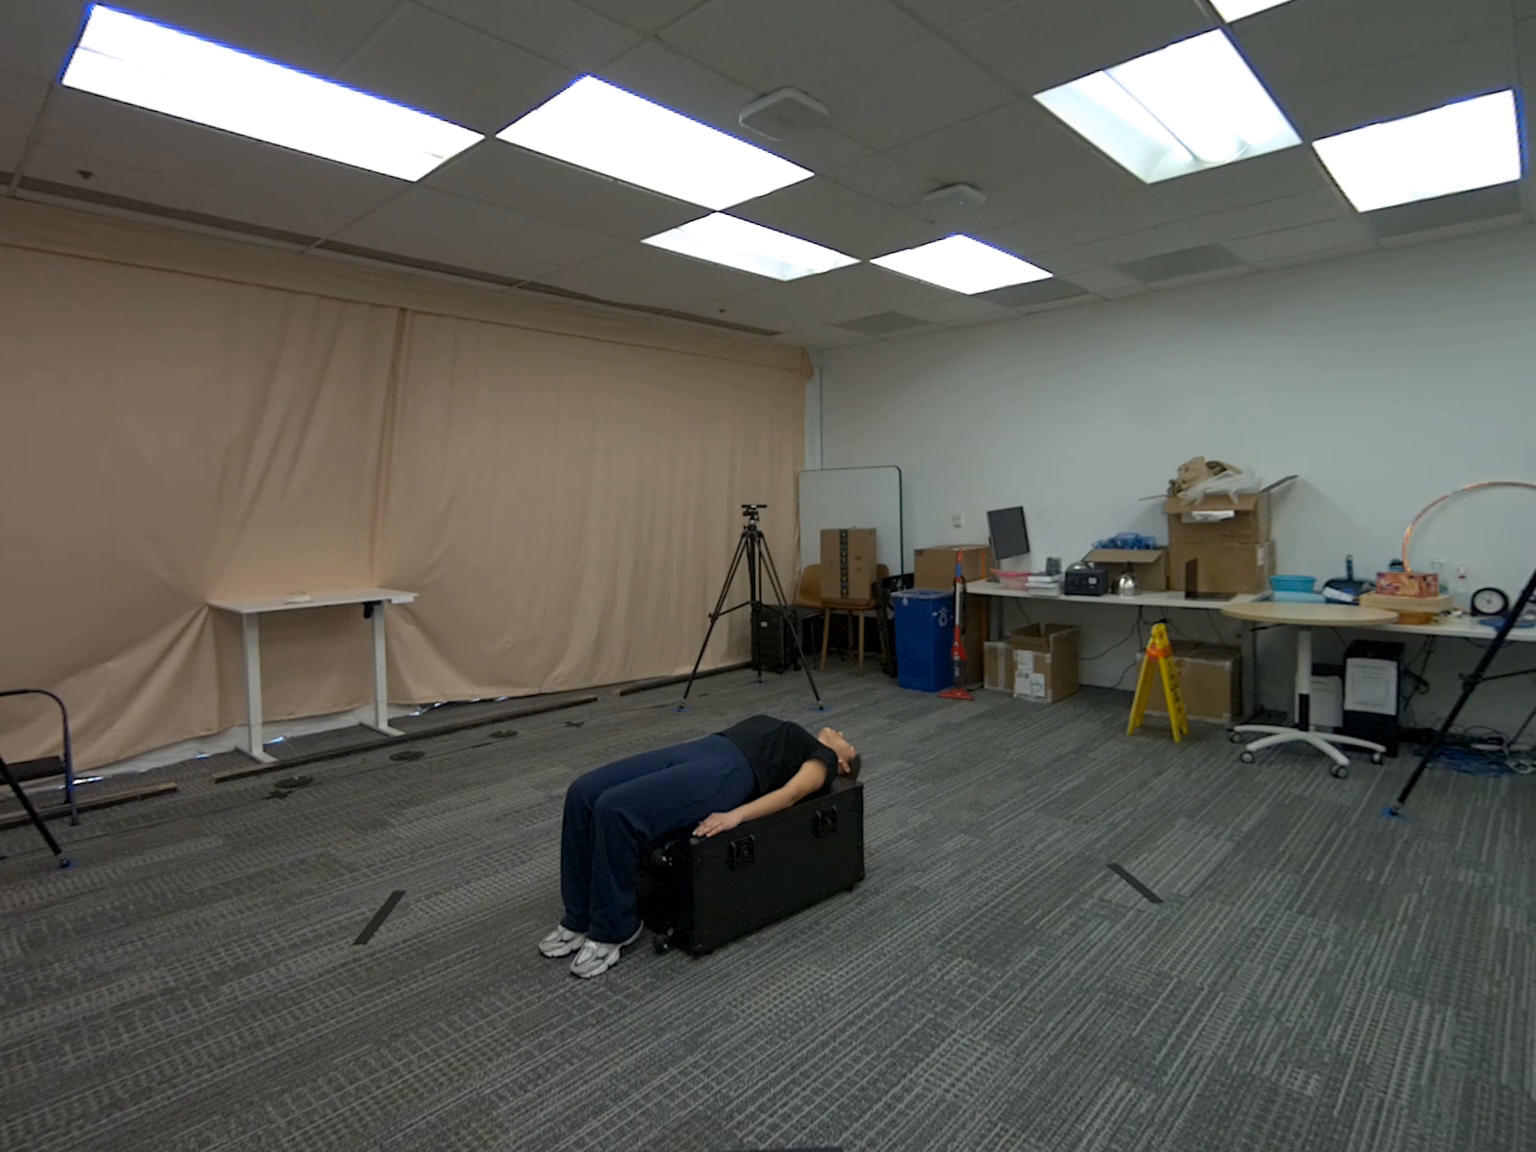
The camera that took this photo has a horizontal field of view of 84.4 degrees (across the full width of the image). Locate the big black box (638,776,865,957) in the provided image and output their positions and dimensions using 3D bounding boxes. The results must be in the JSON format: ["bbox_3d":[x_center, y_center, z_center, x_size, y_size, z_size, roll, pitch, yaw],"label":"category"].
[{"bbox_3d":[-0.064,0.961,3.000,0.836,0.395,0.538,-7,8,-41],"label":"big black box"}]
